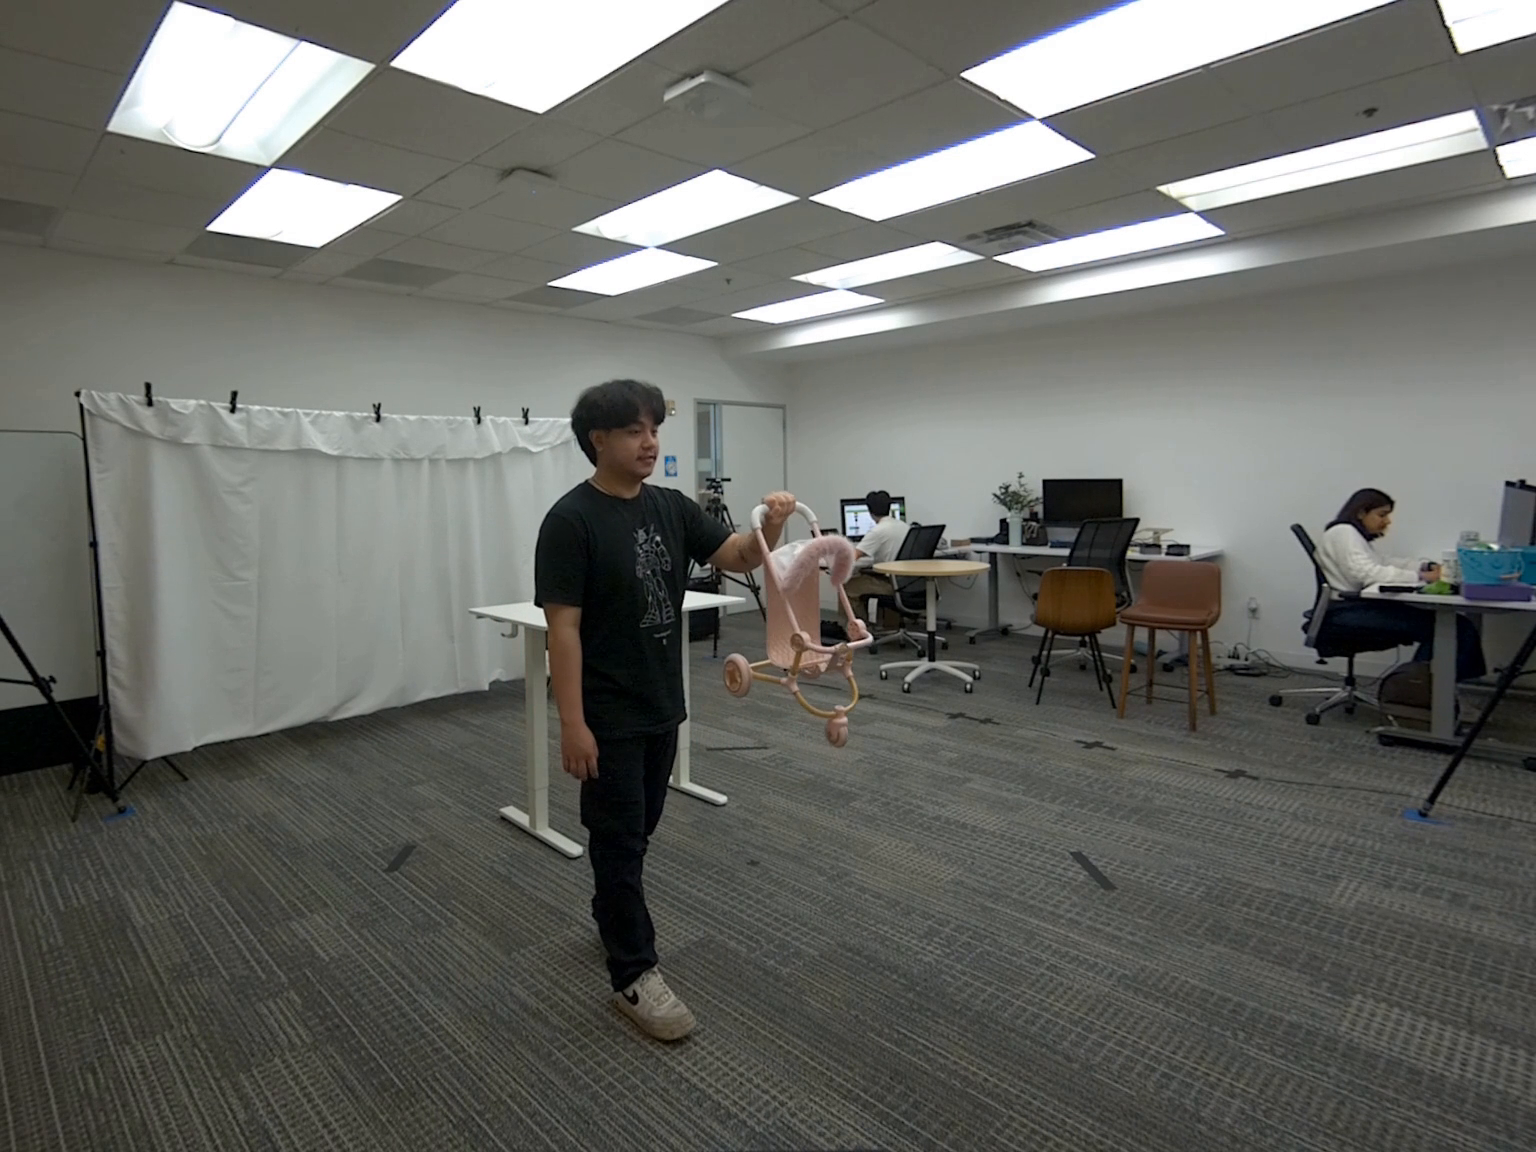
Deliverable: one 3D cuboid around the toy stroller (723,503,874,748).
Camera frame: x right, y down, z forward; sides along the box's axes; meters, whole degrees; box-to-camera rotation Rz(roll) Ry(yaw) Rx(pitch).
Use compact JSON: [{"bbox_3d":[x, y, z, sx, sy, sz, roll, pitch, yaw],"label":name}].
[{"bbox_3d":[0.094,0.113,2.111,0.274,0.529,0.354,-4,17,-34],"label":"toy stroller"}]
